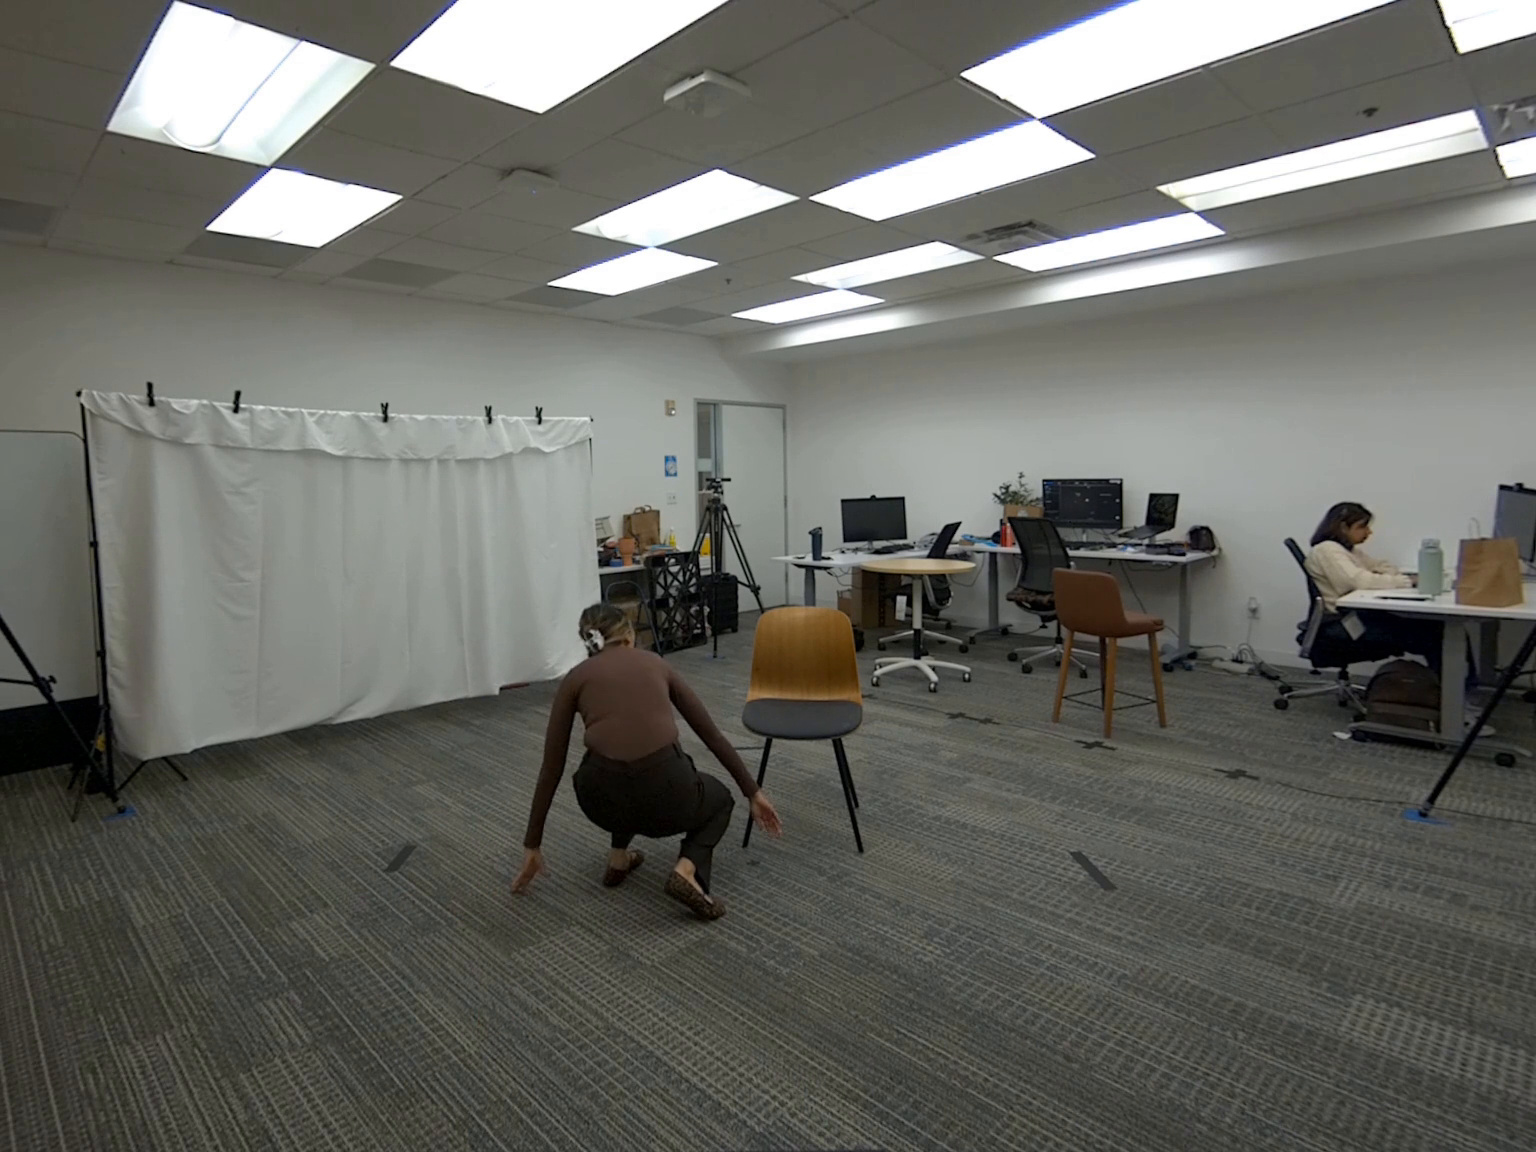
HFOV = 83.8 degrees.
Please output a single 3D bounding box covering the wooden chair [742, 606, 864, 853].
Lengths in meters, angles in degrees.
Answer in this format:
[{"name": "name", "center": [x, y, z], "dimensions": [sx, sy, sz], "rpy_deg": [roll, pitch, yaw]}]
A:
[{"name": "wooden chair", "center": [0.142, 0.579, 3.385], "dimensions": [0.481, 0.877, 0.520], "rpy_deg": [0, 0, 6]}]
